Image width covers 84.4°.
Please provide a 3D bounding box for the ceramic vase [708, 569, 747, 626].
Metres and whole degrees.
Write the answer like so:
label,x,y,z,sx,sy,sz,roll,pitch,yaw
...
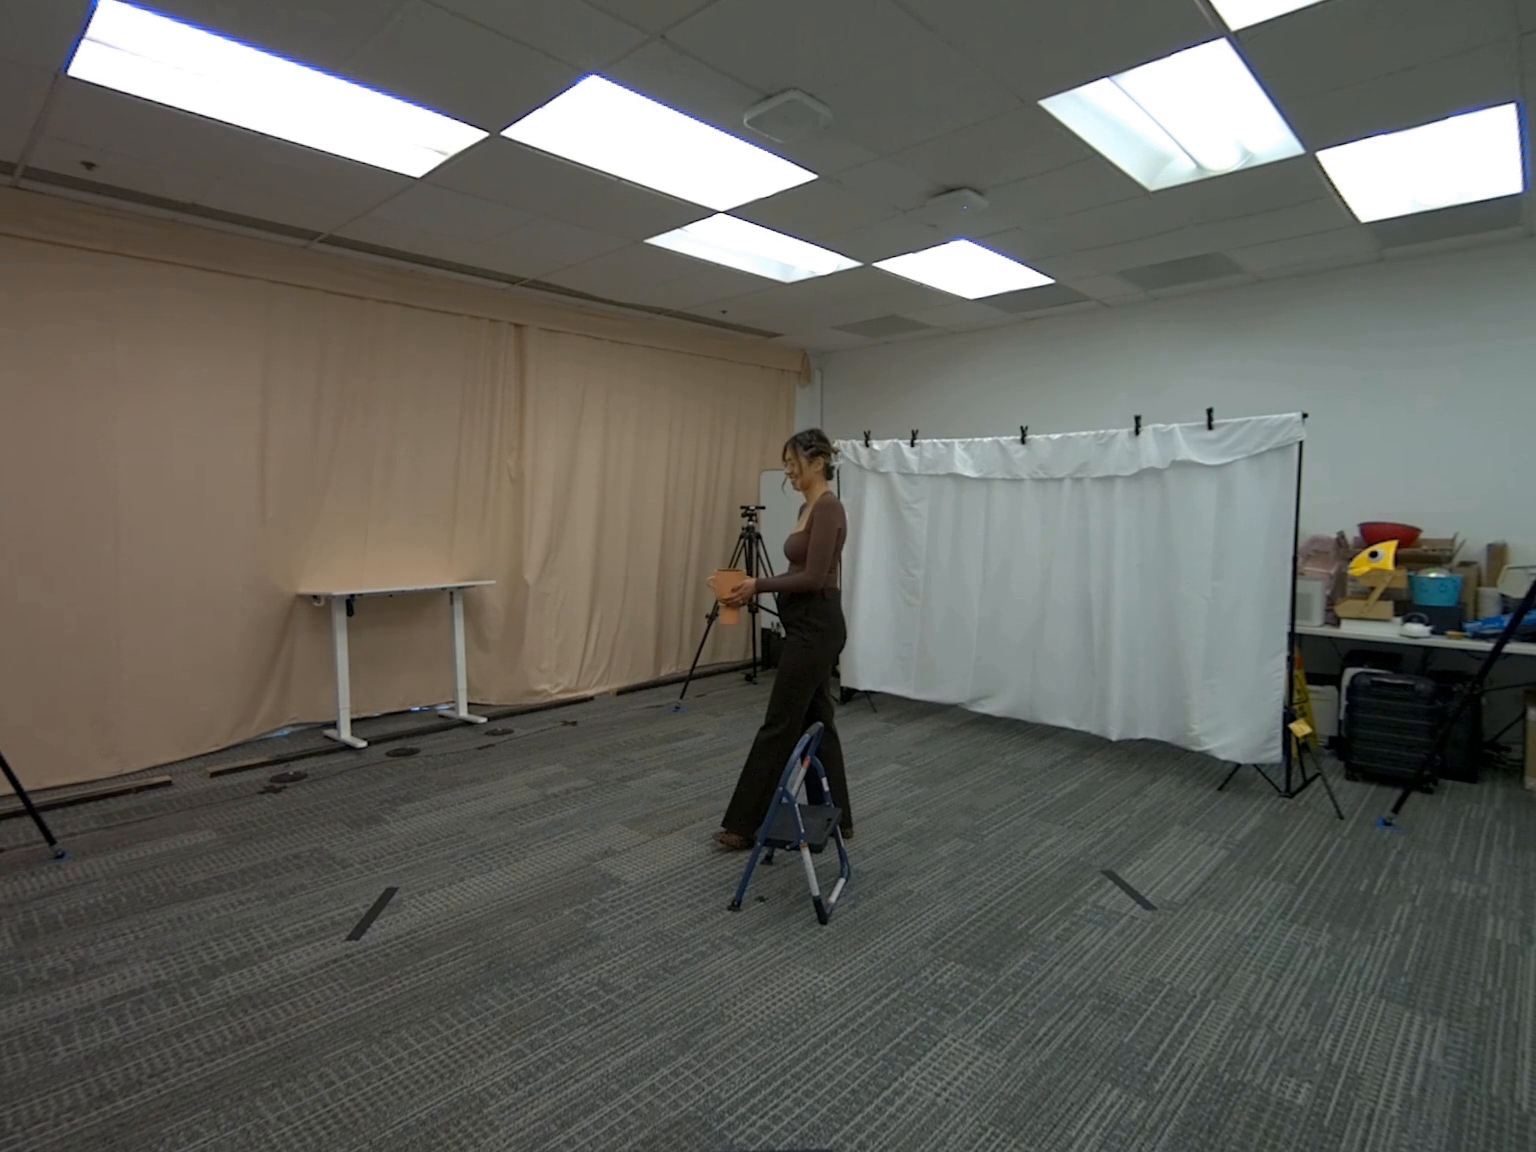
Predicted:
label,x,y,z,sx,sy,sz,roll,pitch,yaw
ceramic vase,-0.155,0.087,3.467,0.163,0.219,0.131,2,4,28
